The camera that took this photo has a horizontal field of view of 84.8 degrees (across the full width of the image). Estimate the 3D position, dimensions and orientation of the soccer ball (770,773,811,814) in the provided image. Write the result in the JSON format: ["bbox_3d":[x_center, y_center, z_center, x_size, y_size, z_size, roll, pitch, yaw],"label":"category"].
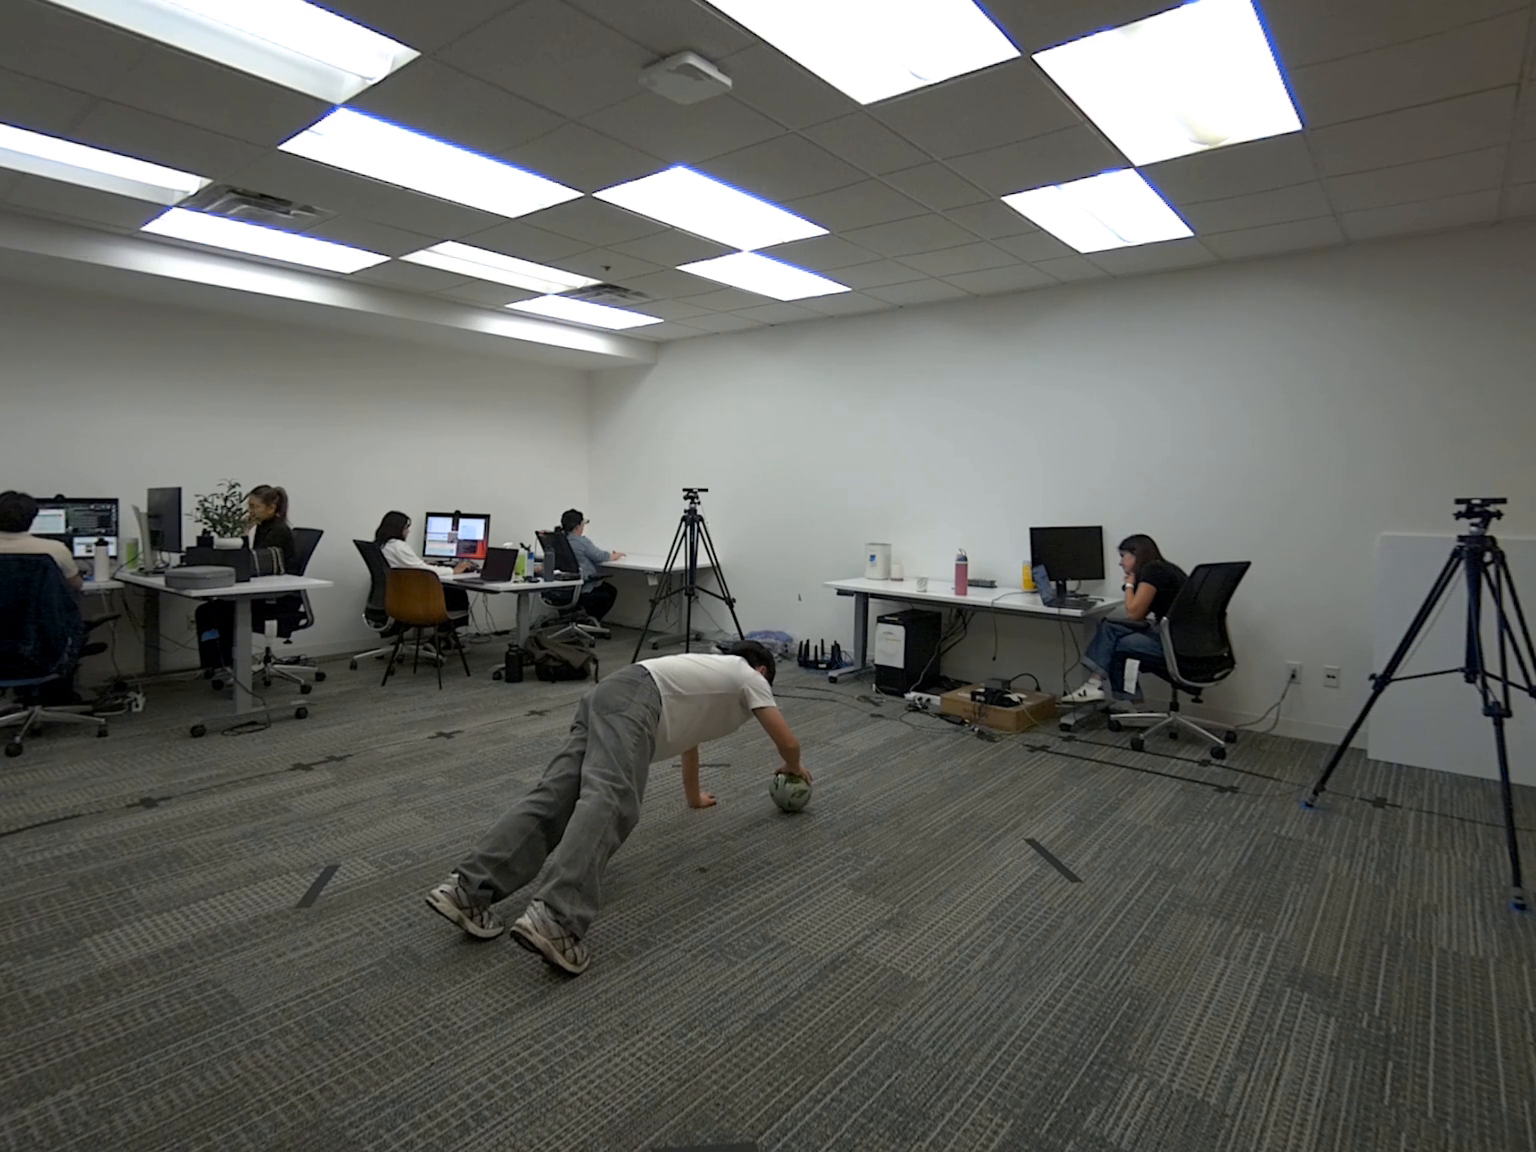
[{"bbox_3d":[0.116,0.913,3.690,0.187,0.187,0.188,1,4,-2],"label":"soccer ball"}]
